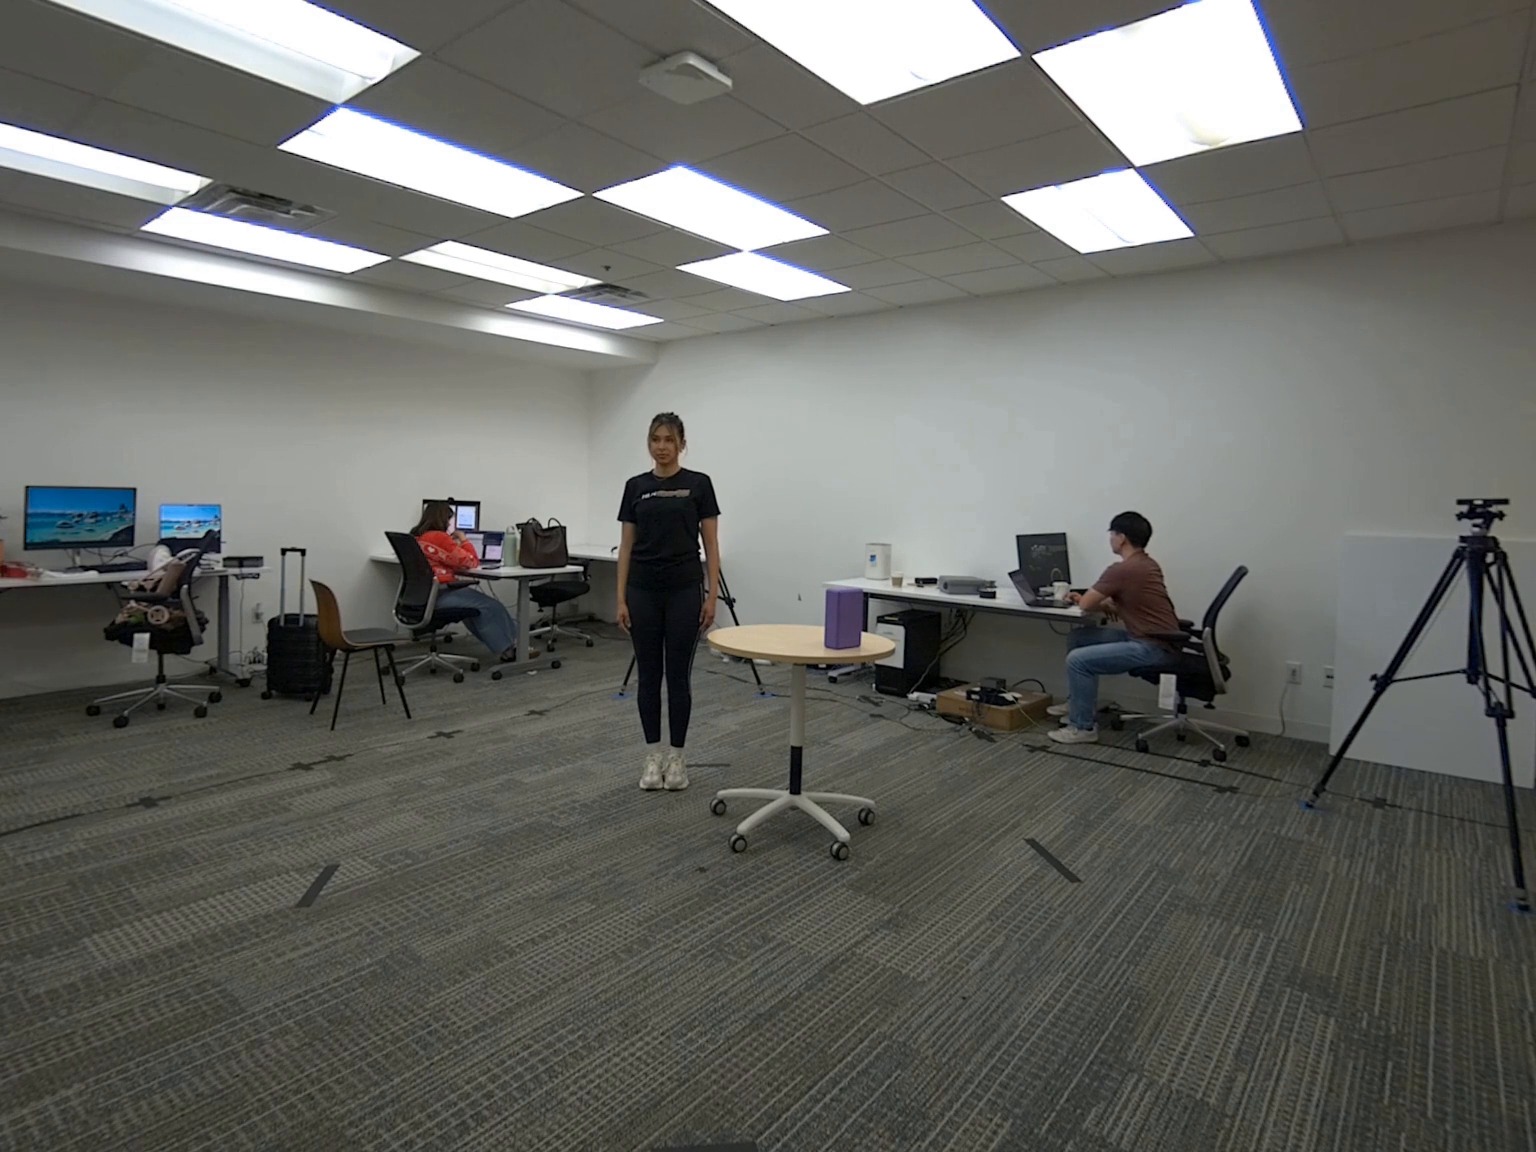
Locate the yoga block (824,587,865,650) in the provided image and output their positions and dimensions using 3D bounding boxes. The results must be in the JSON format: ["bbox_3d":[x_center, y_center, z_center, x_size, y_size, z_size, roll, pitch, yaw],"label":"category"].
[{"bbox_3d":[0.291,0.160,3.333,0.144,0.229,0.079,-1,4,-41],"label":"yoga block"}]
